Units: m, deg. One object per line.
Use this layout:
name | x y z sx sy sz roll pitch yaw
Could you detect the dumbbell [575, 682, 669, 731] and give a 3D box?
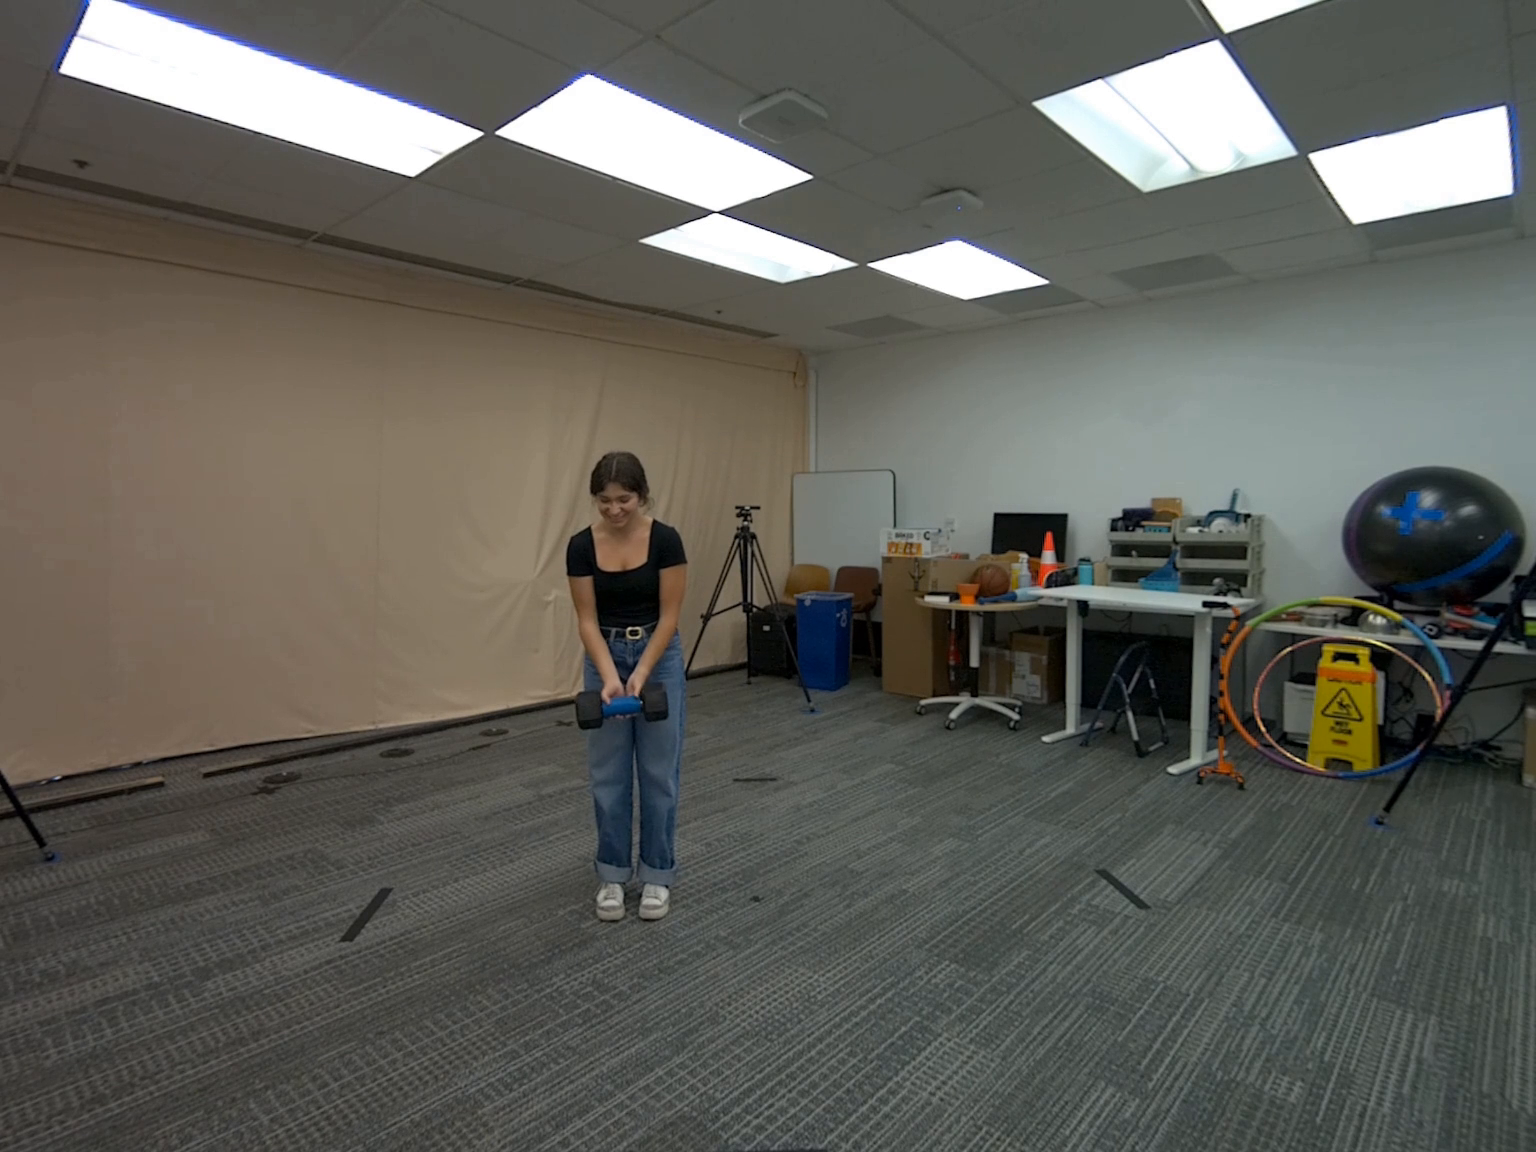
dumbbell | -0.477 0.408 2.707 0.292 0.124 0.108 -3 -11 -6
